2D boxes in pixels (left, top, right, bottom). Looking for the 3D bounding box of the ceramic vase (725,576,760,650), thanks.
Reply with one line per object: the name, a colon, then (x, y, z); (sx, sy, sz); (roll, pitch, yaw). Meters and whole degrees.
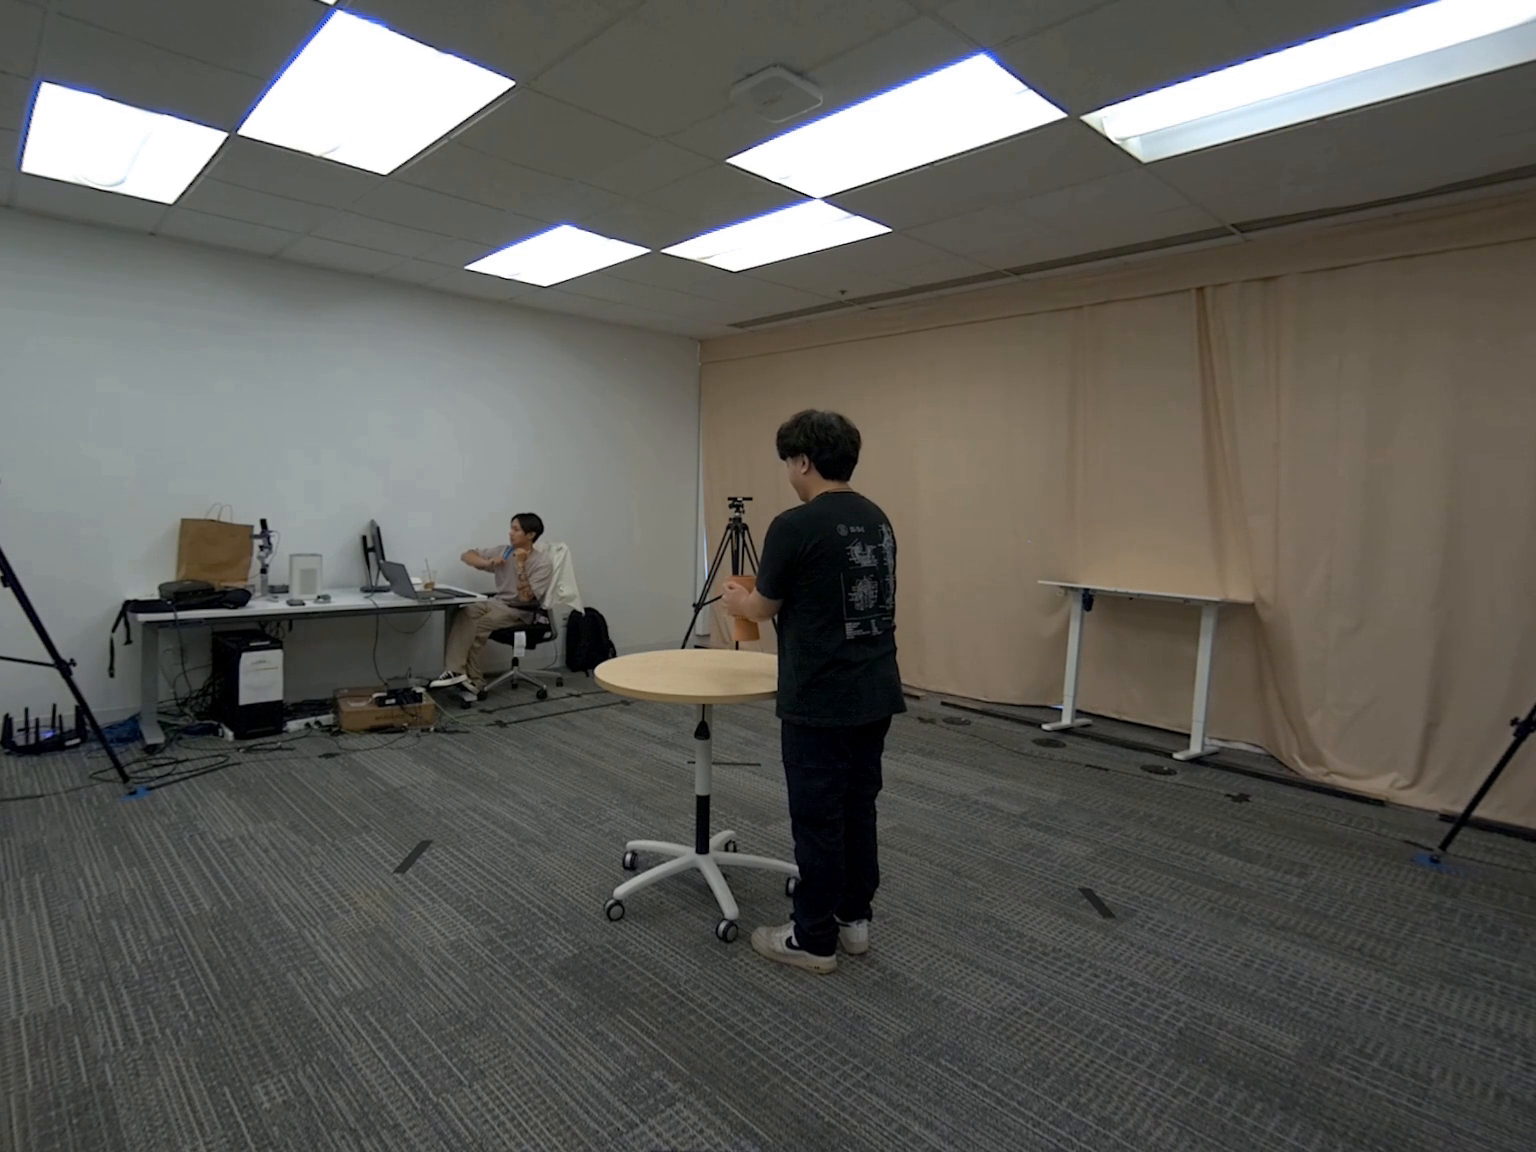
ceramic vase: (-0.086, 0.110, 2.916); (0.134, 0.219, 0.159); (-2, 3, -3)
